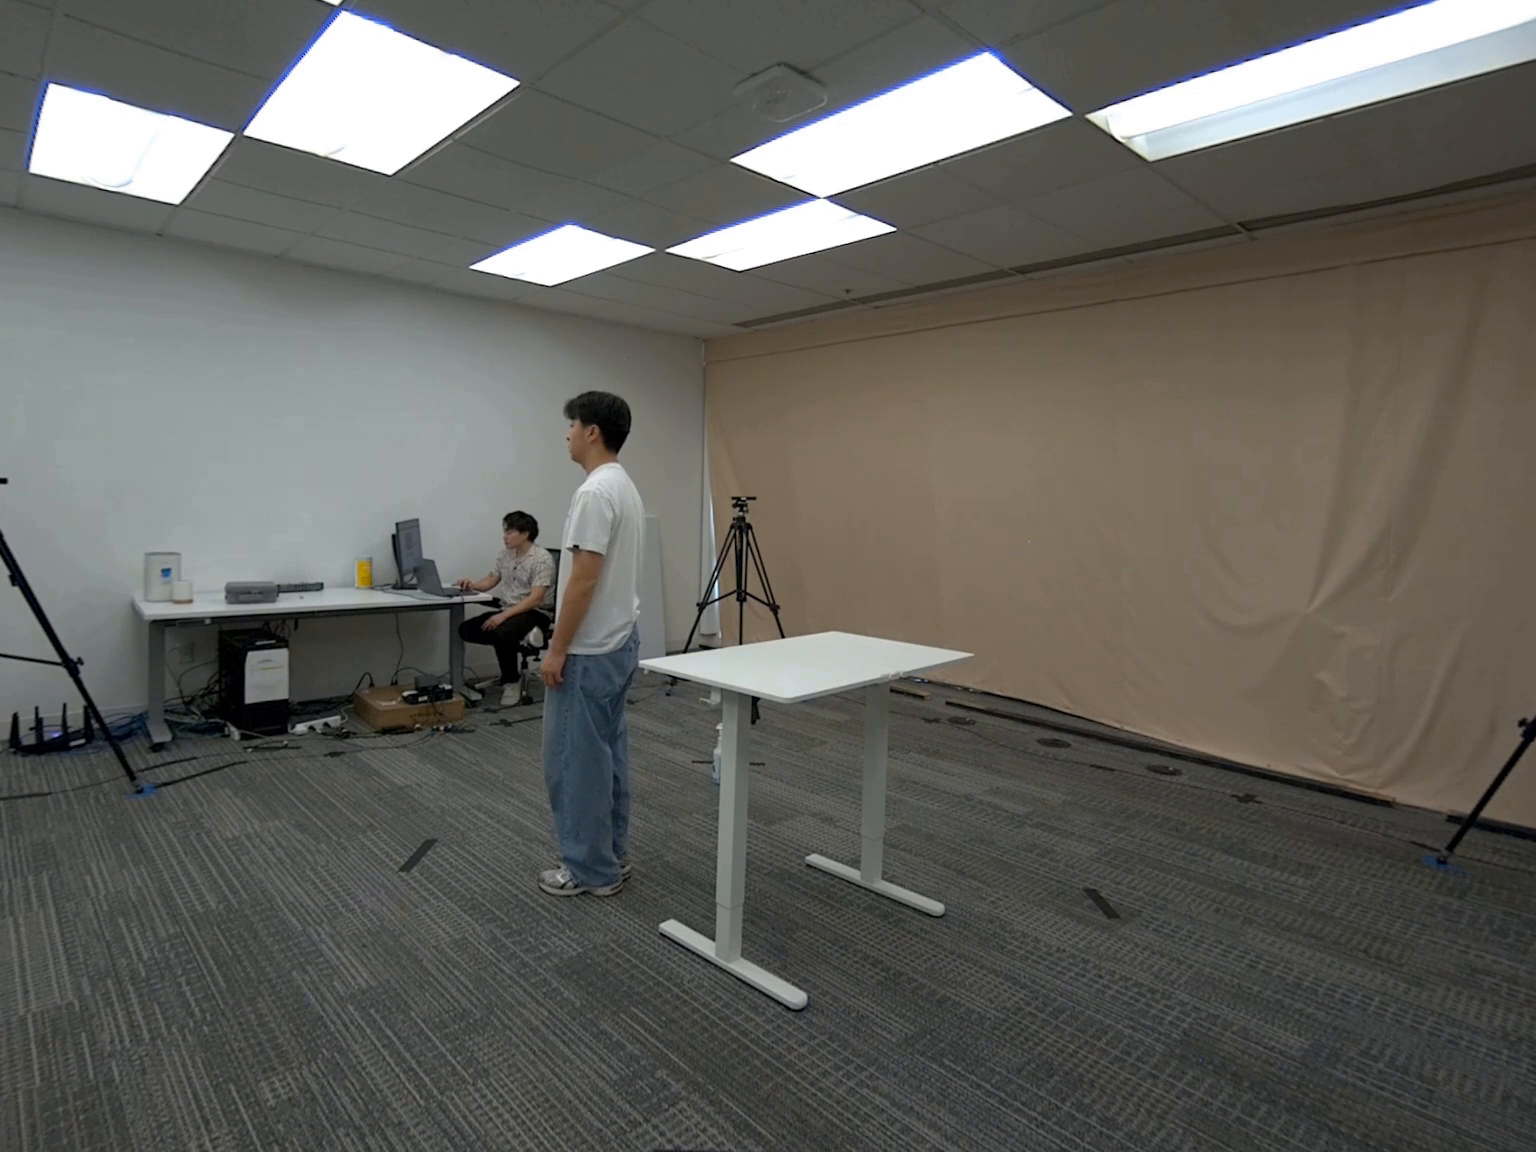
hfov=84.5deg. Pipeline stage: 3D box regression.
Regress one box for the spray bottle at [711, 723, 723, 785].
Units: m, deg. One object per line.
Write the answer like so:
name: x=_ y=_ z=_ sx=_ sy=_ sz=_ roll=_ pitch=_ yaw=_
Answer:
spray bottle: x=-0.235 y=0.875 z=4.132 sx=0.085 sy=0.296 sz=0.092 roll=1 pitch=5 yaw=-35
